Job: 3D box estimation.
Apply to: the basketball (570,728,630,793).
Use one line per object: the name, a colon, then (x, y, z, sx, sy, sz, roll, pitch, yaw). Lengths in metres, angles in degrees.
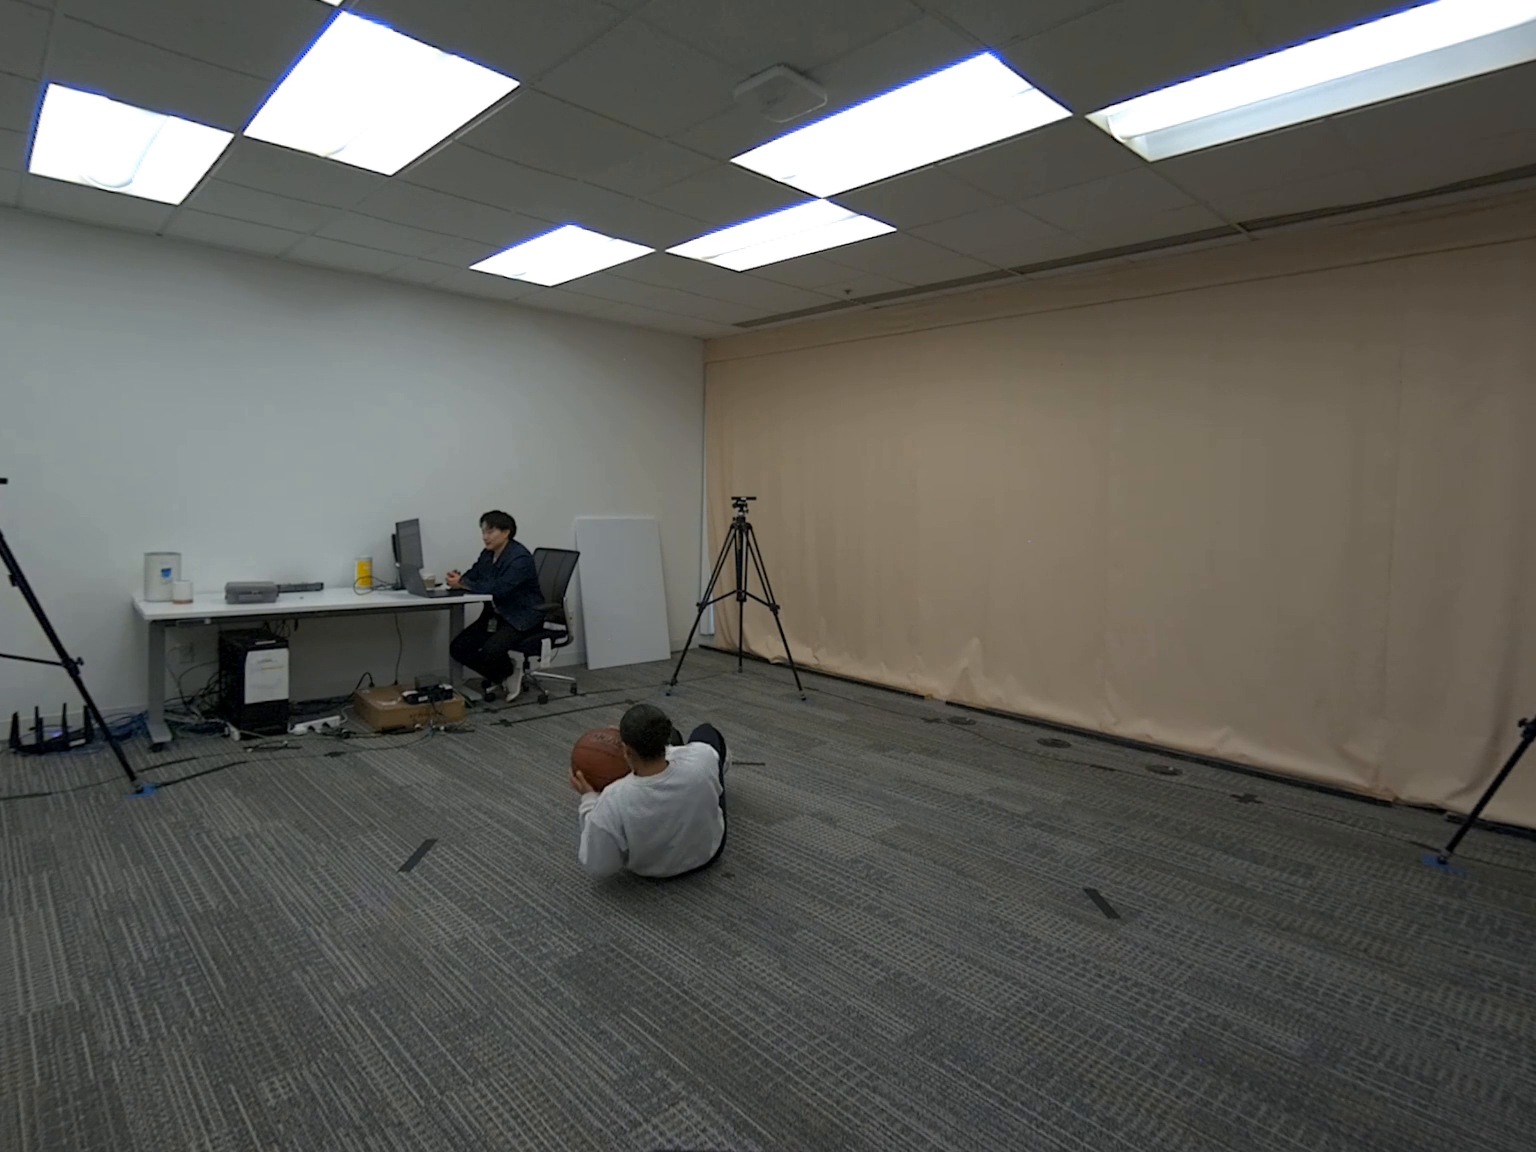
basketball: (-0.620, 0.709, 3.195, 0.236, 0.235, 0.237, 1, 4, -1)
